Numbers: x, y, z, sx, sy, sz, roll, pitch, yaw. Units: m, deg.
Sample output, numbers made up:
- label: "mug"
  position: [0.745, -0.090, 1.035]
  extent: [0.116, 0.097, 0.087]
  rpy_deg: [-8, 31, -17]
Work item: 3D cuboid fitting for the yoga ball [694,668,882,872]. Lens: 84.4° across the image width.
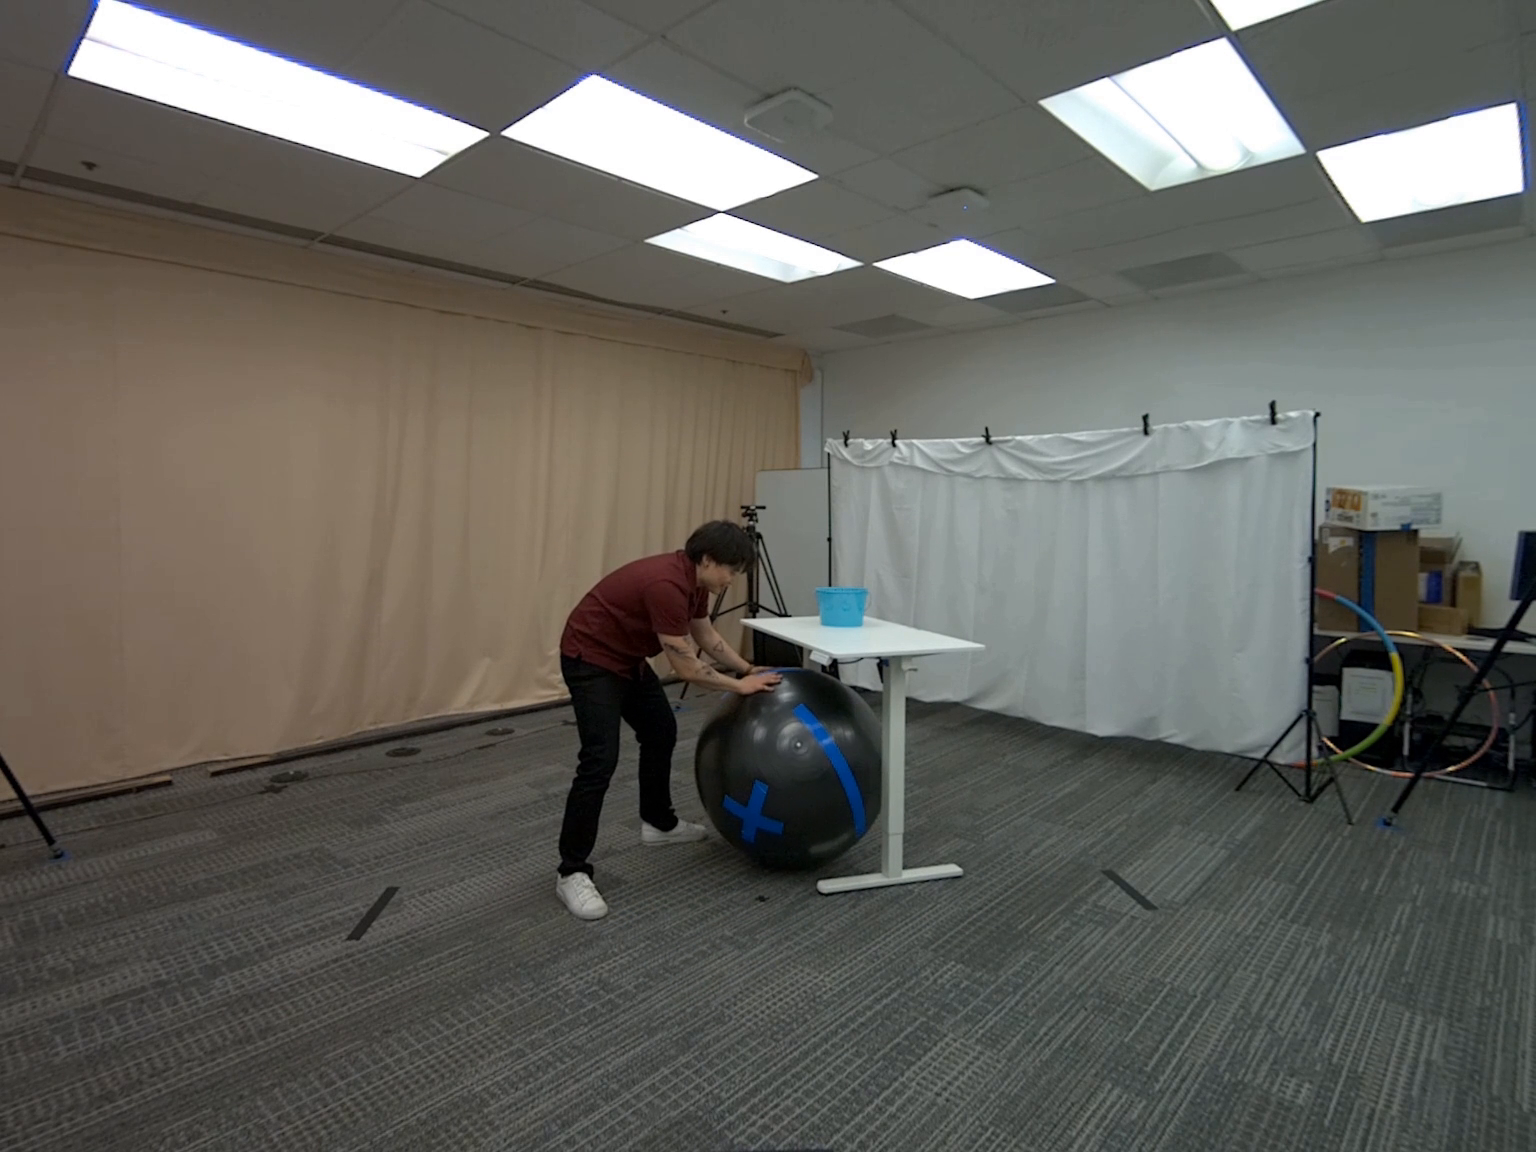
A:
- label: "yoga ball"
  position: [0.100, 0.747, 3.311]
  extent: [0.757, 0.756, 0.760]
  rpy_deg: [0, 4, -2]
